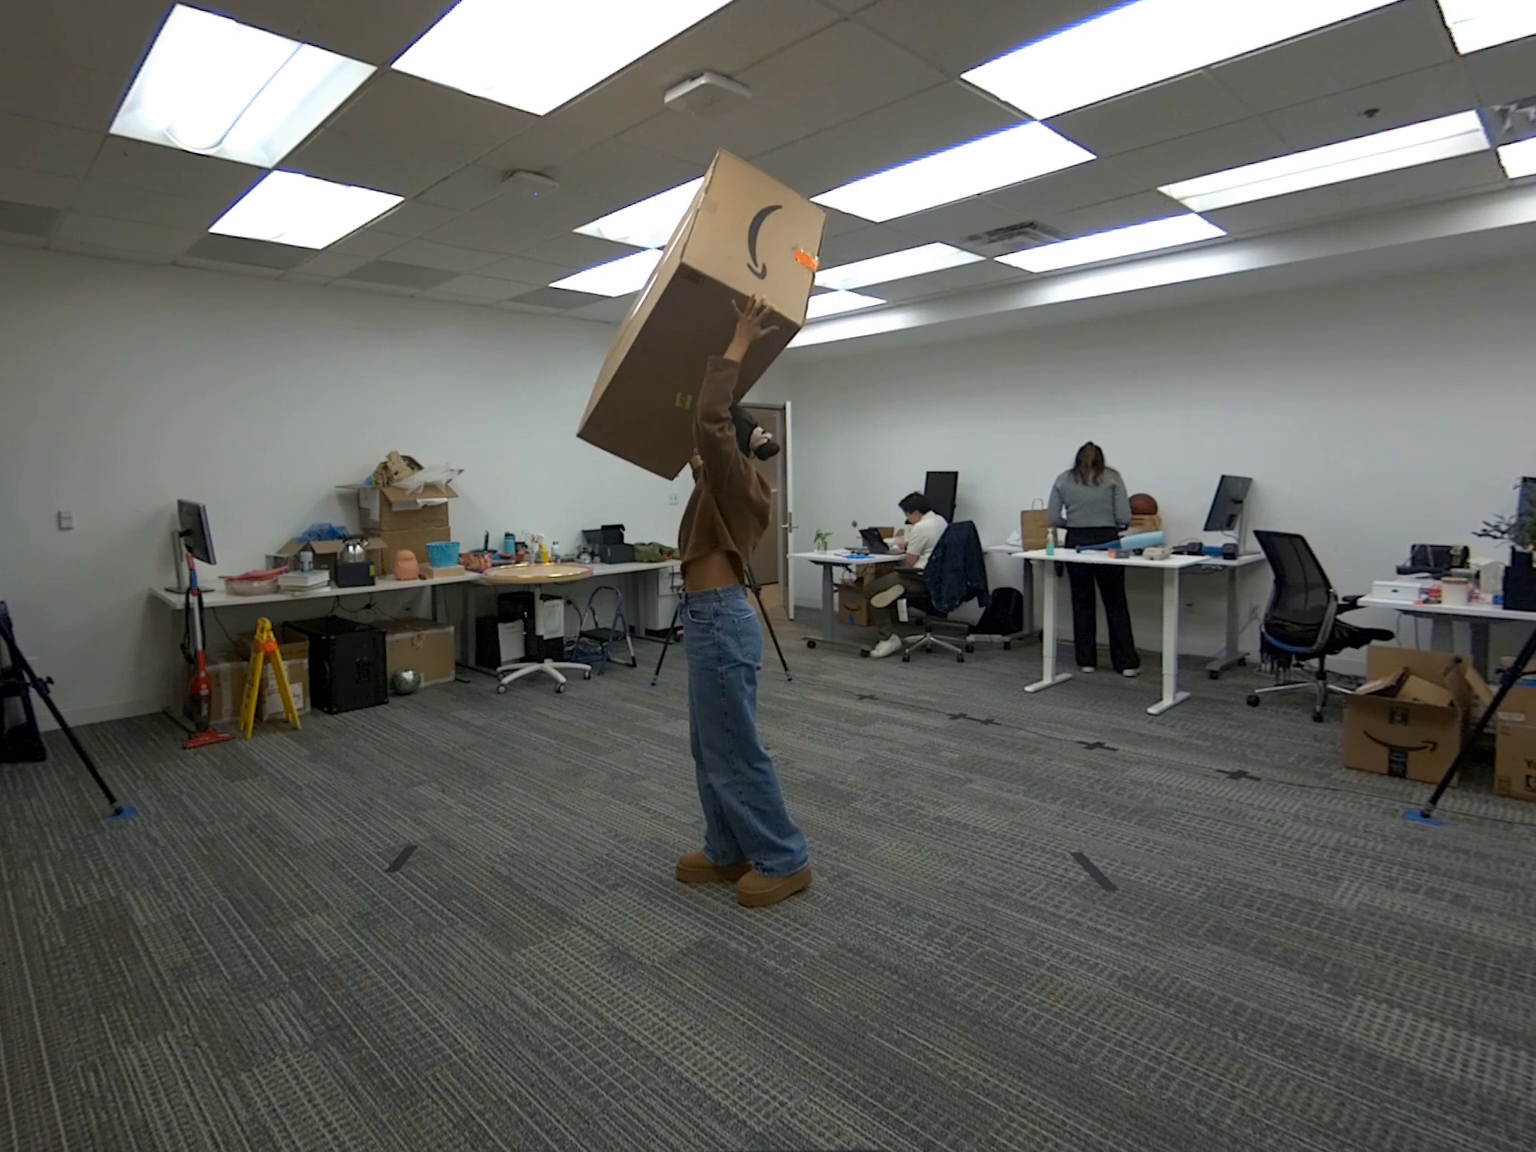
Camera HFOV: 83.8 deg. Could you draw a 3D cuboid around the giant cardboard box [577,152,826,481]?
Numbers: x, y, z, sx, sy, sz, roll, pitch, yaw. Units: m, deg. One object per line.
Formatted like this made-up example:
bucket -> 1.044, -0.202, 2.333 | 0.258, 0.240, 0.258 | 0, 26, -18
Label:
giant cardboard box -> -0.268, -0.873, 3.107 | 0.417, 0.588, 1.030 | 25, -33, -19
